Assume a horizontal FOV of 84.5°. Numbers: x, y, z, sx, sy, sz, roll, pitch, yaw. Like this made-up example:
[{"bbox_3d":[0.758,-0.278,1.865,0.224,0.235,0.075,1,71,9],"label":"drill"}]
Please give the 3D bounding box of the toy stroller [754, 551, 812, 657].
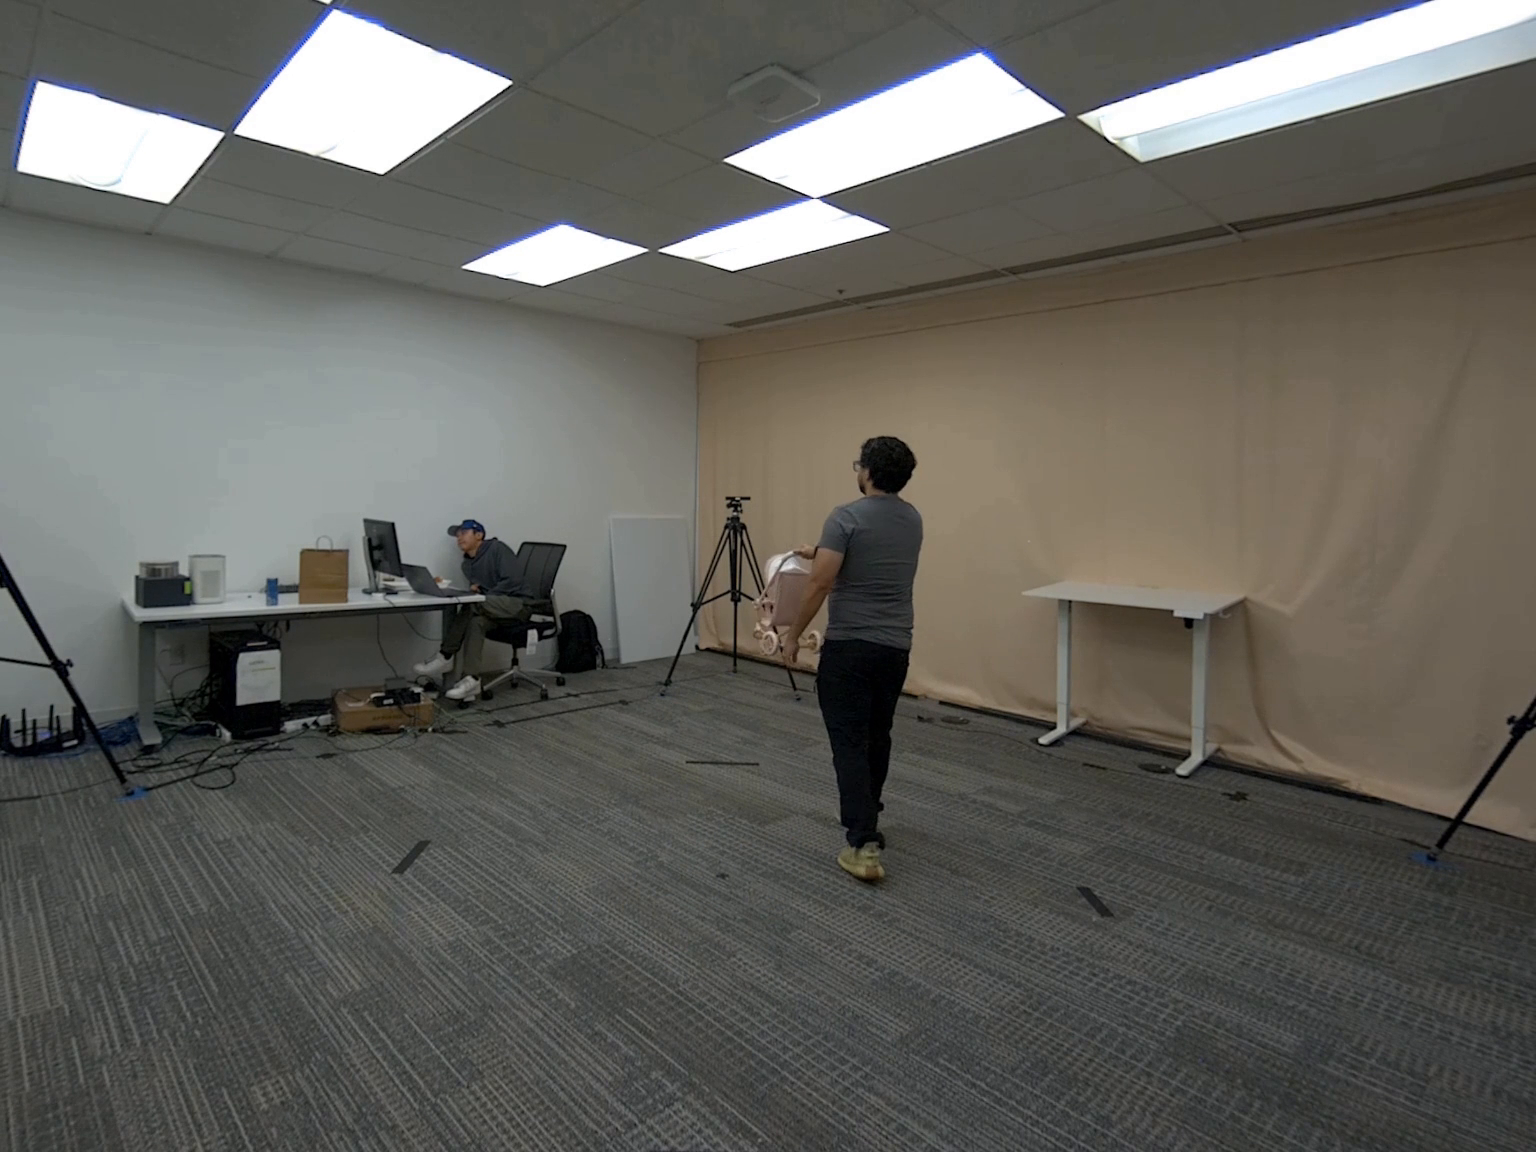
[{"bbox_3d":[0.066,0.135,3.944,0.276,0.534,0.349,3,4,-28],"label":"toy stroller"}]
